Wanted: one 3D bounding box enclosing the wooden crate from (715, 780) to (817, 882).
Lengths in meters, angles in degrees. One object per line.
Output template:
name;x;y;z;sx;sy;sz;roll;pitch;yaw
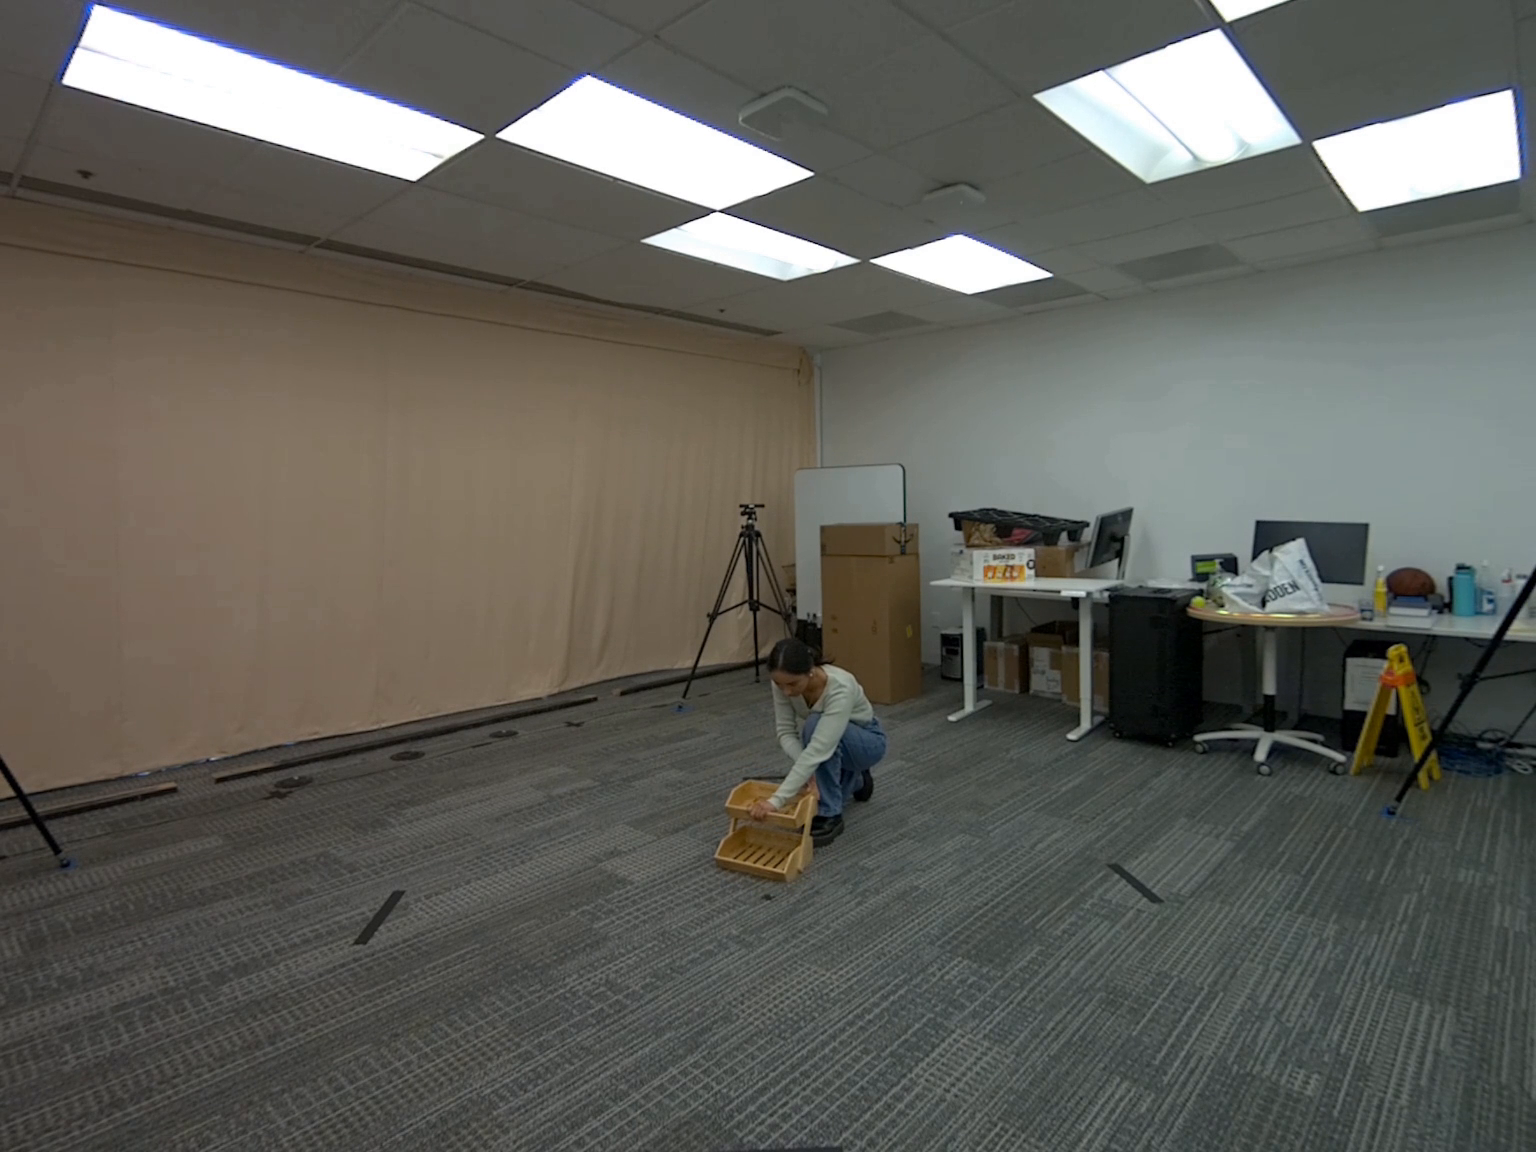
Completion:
wooden crate;-0.004;0.976;3.267;0.334;0.273;0.294;2;4;29
